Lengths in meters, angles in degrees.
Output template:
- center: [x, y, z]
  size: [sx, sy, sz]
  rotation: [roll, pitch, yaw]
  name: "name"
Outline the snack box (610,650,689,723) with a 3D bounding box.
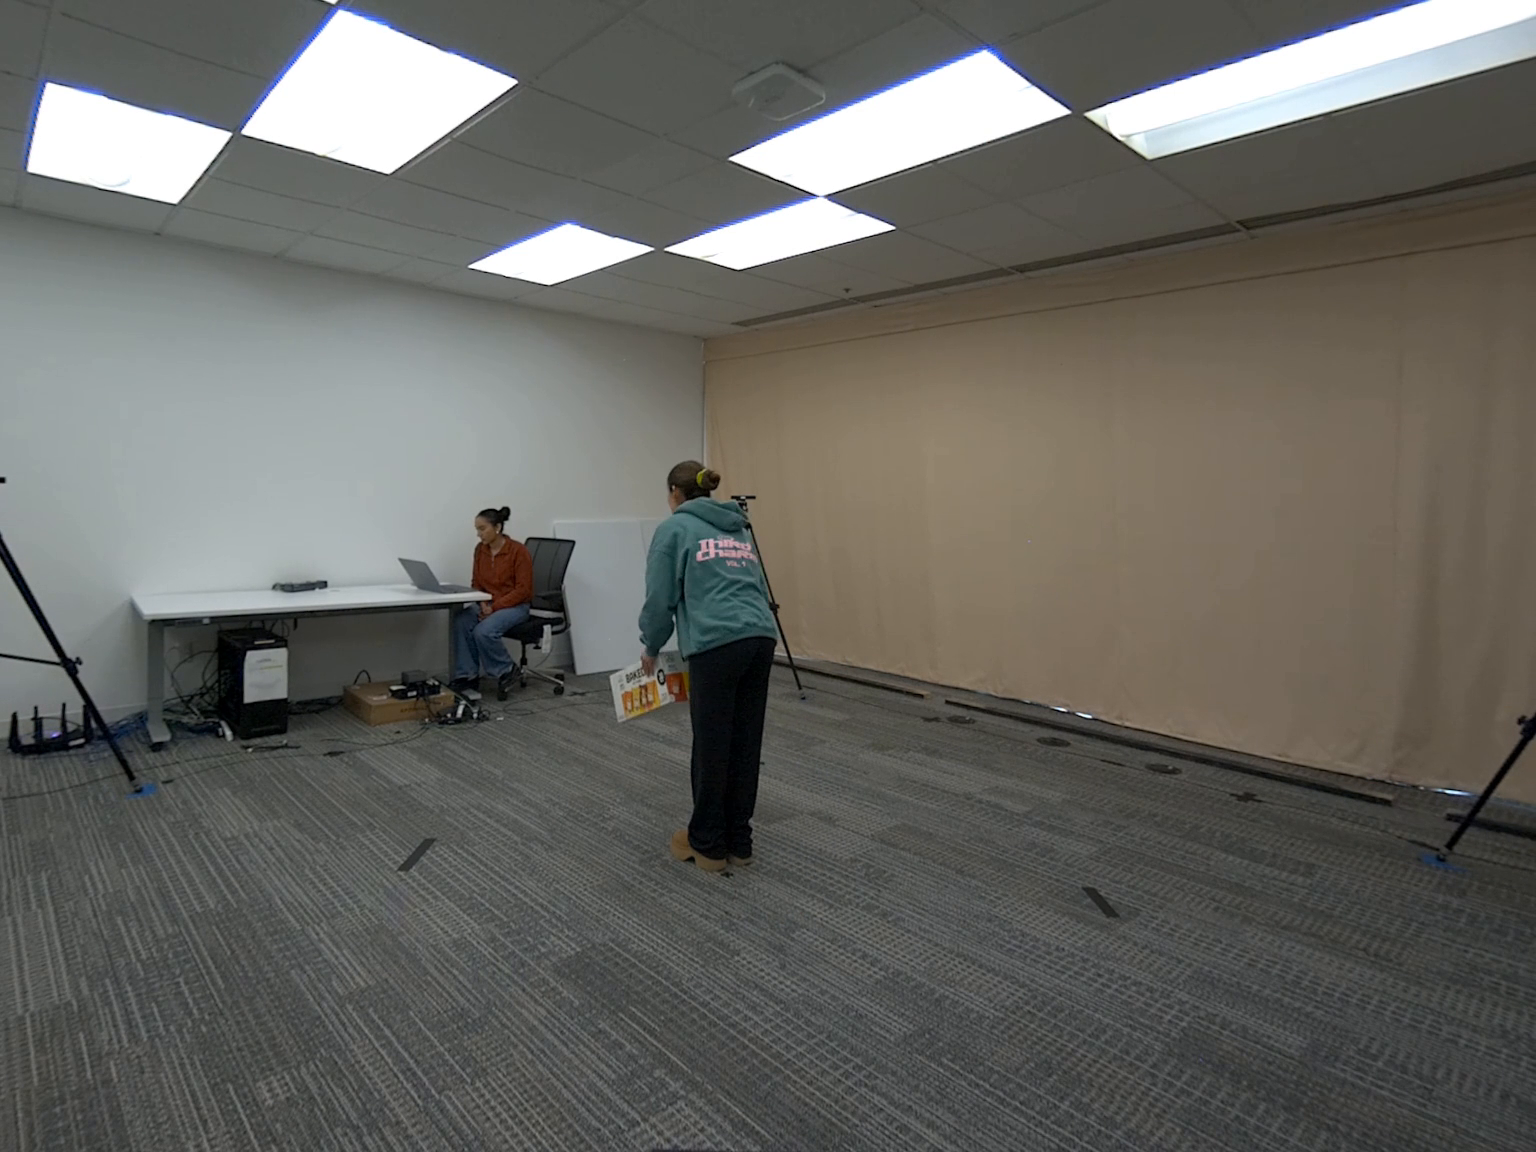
- center: [-0.420, 0.432, 3.523]
  size: [0.332, 0.208, 0.409]
  rotation: [-1, -18, -40]
  name: "snack box"
